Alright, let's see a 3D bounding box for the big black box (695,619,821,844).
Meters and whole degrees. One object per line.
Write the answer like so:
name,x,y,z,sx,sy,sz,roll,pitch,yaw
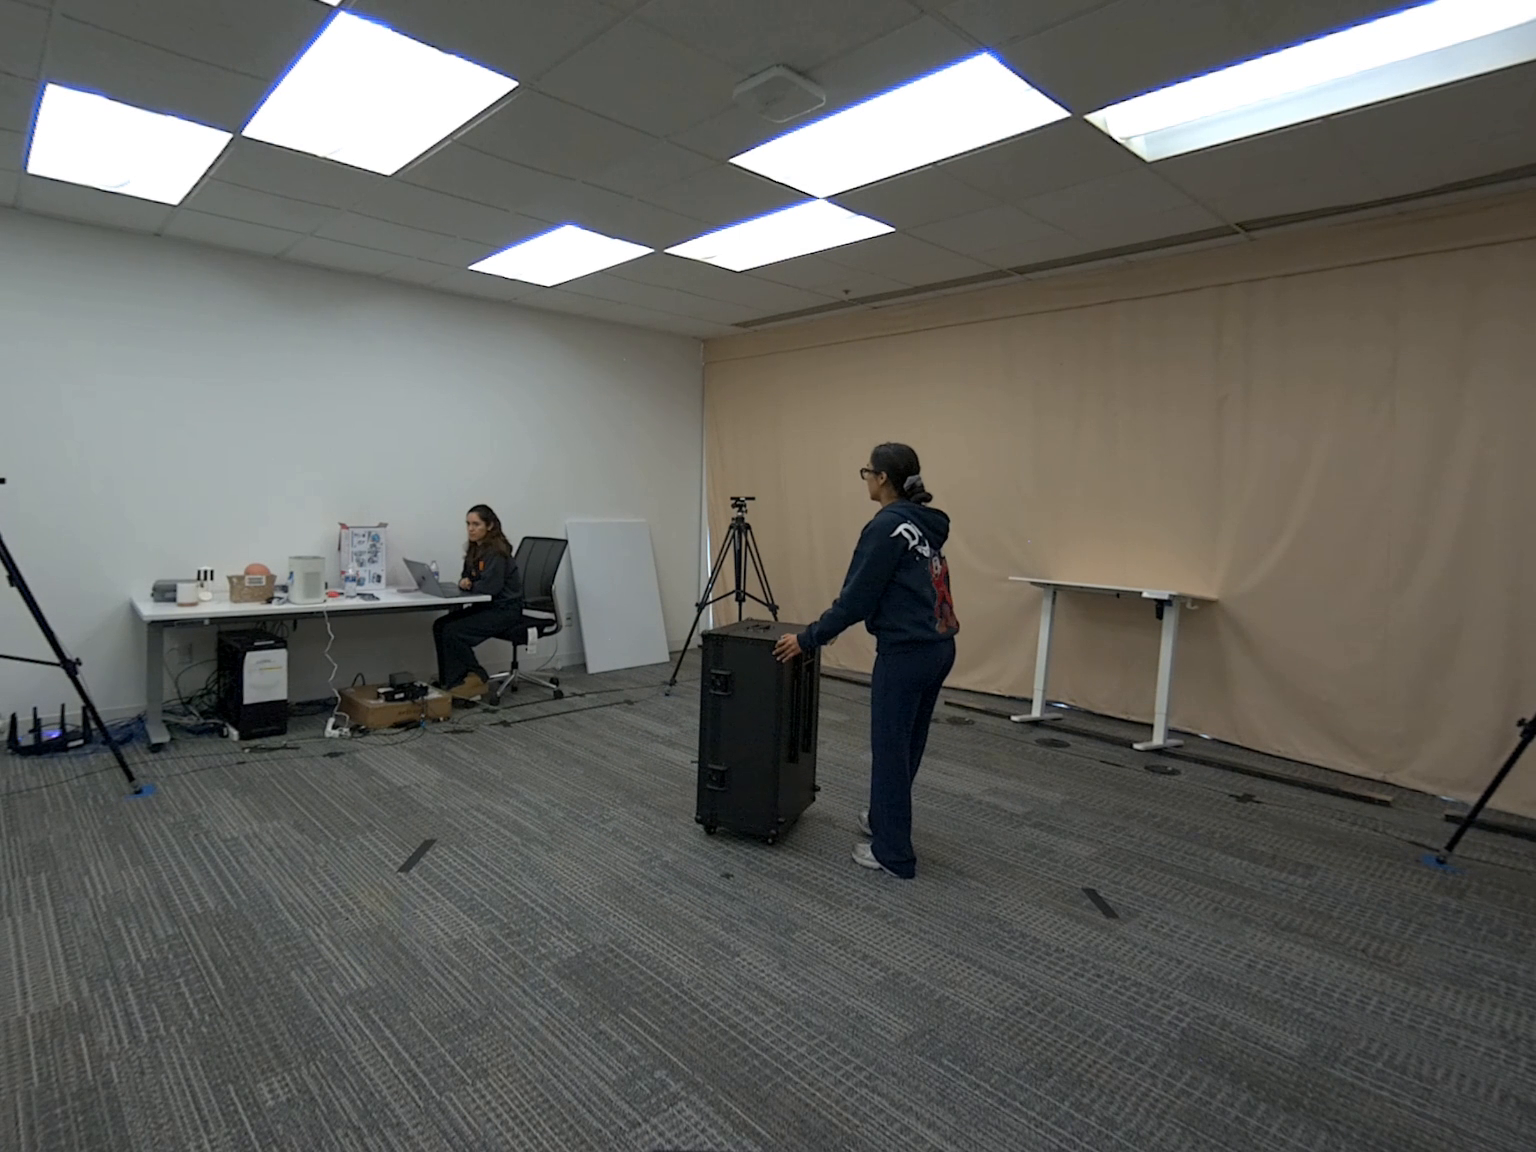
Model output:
big black box,-0.028,0.647,3.556,0.403,0.859,0.513,5,5,22
